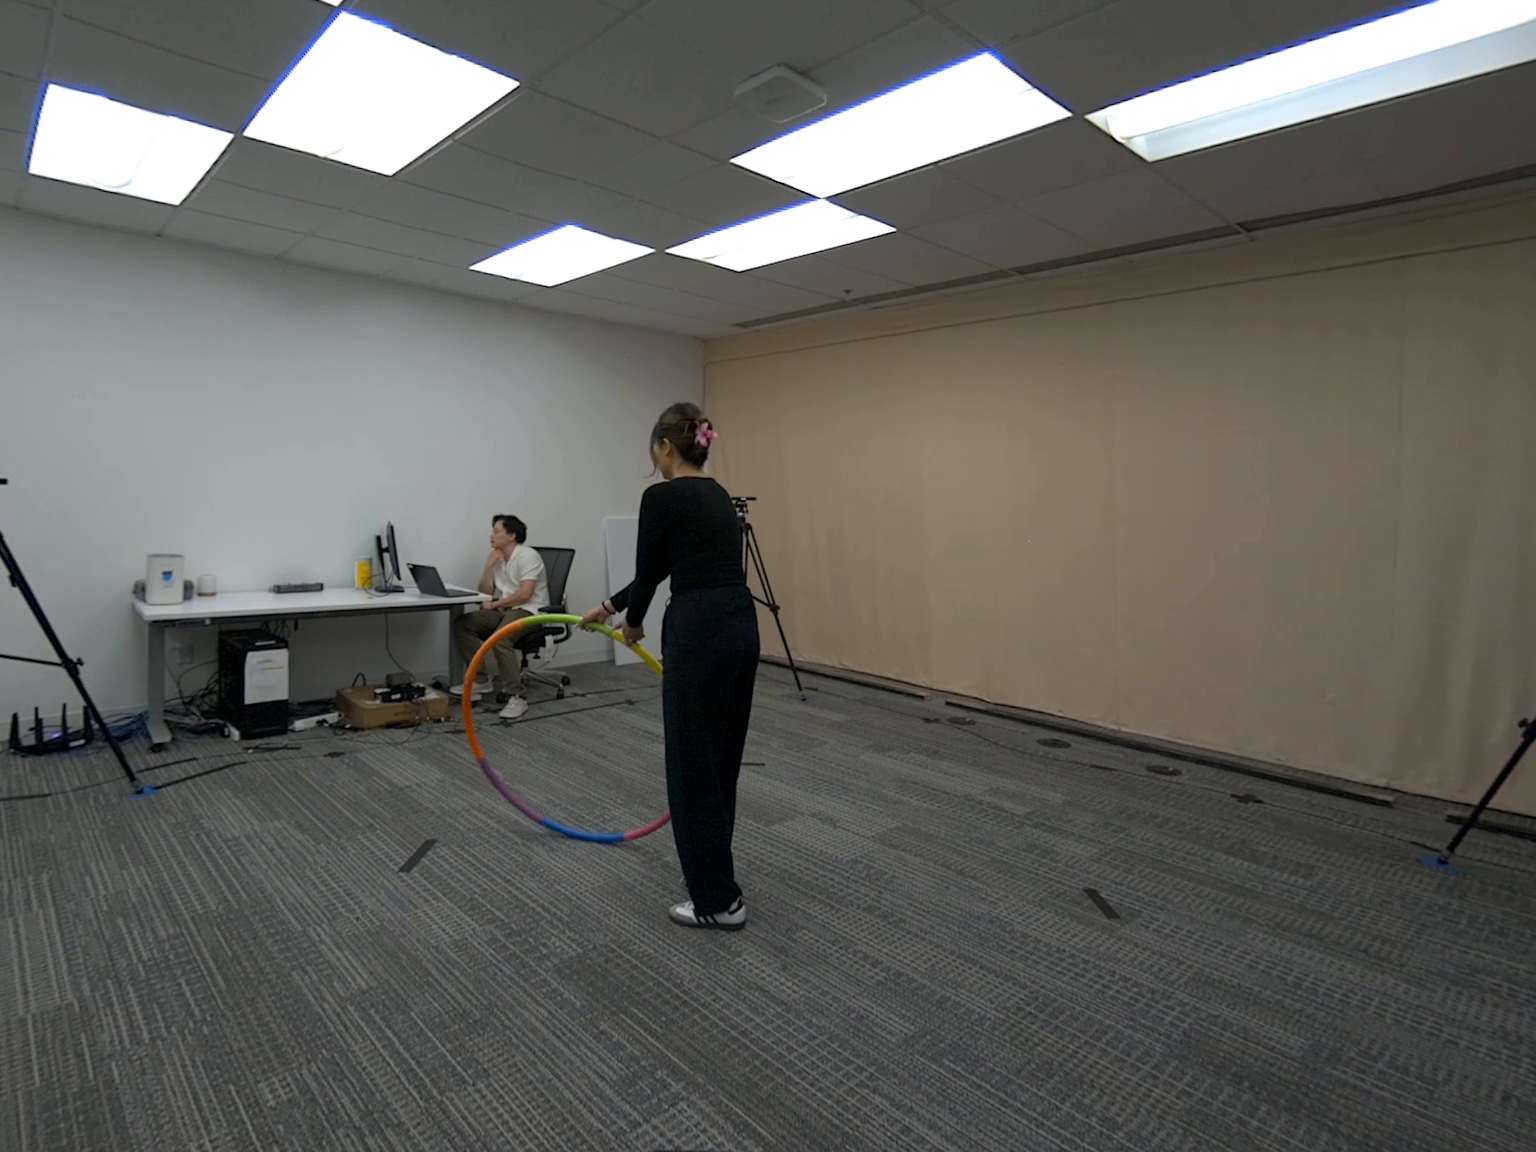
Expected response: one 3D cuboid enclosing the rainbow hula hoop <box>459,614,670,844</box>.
[{"bbox_3d":[-0.739,0.608,3.275,0.991,0.965,0.035,3,18,16],"label":"rainbow hula hoop"}]
